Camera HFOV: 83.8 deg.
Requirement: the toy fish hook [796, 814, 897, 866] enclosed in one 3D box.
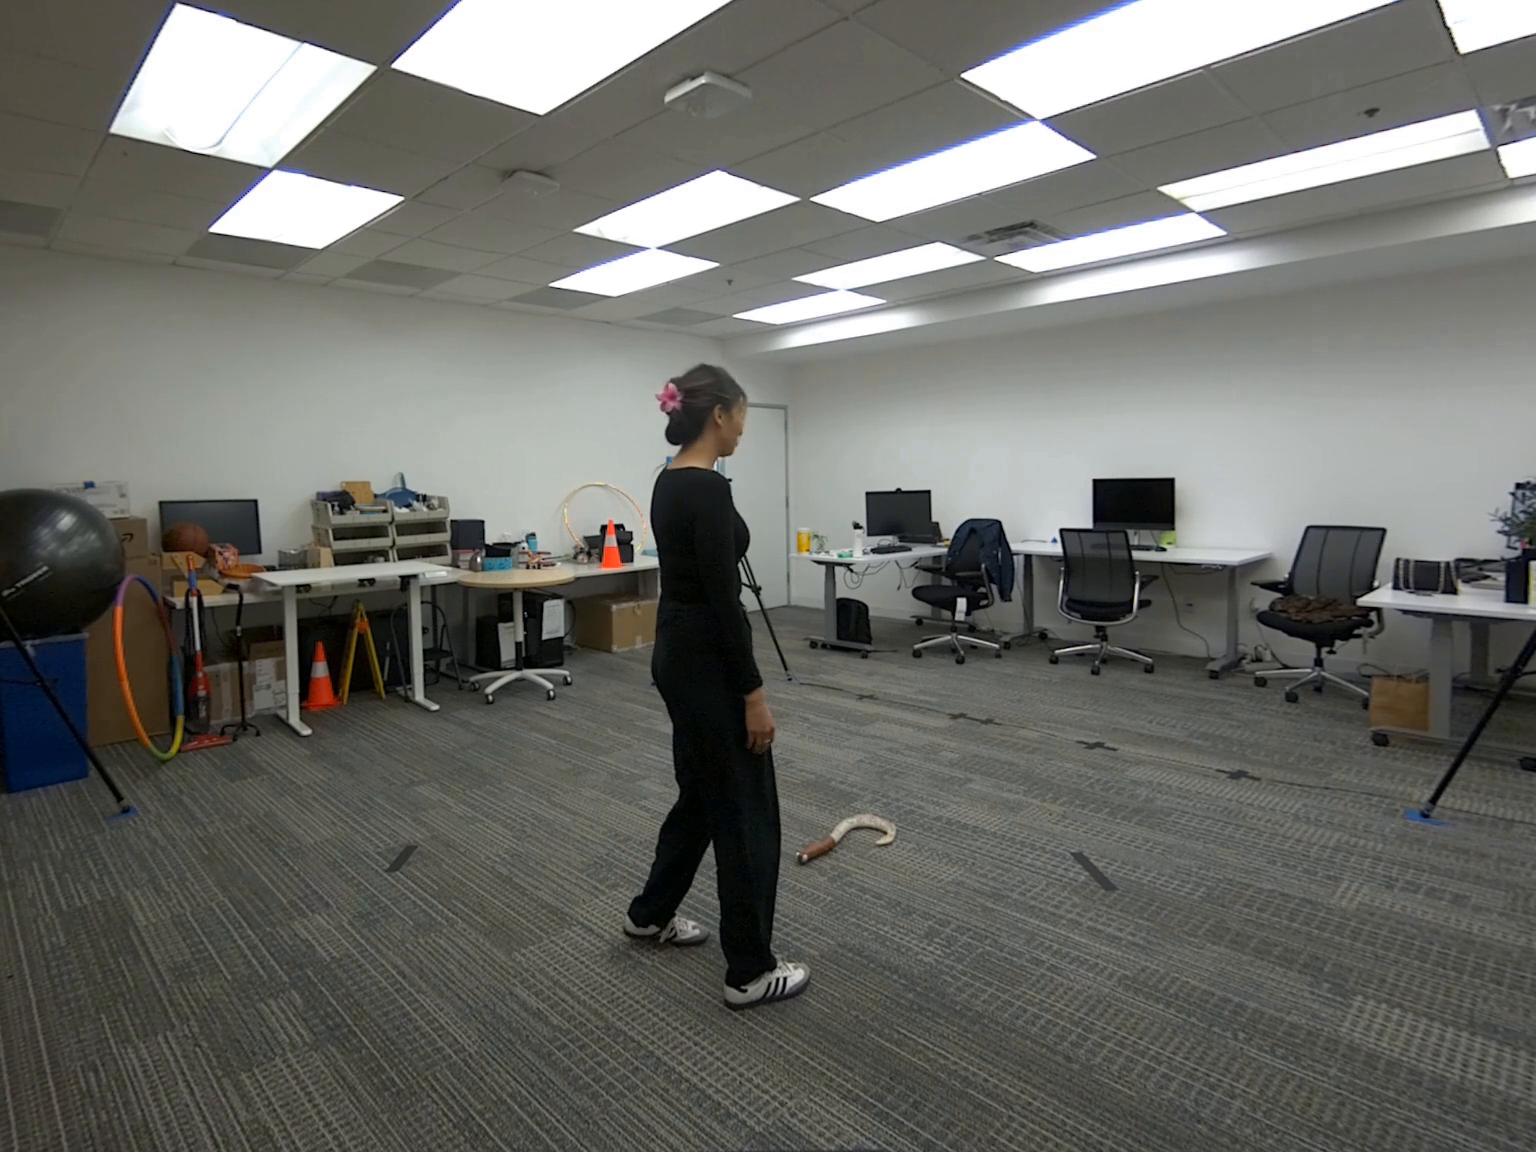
[{"bbox_3d":[0.309,1.002,3.233,0.231,0.048,0.494,3,8,39],"label":"toy fish hook"}]
